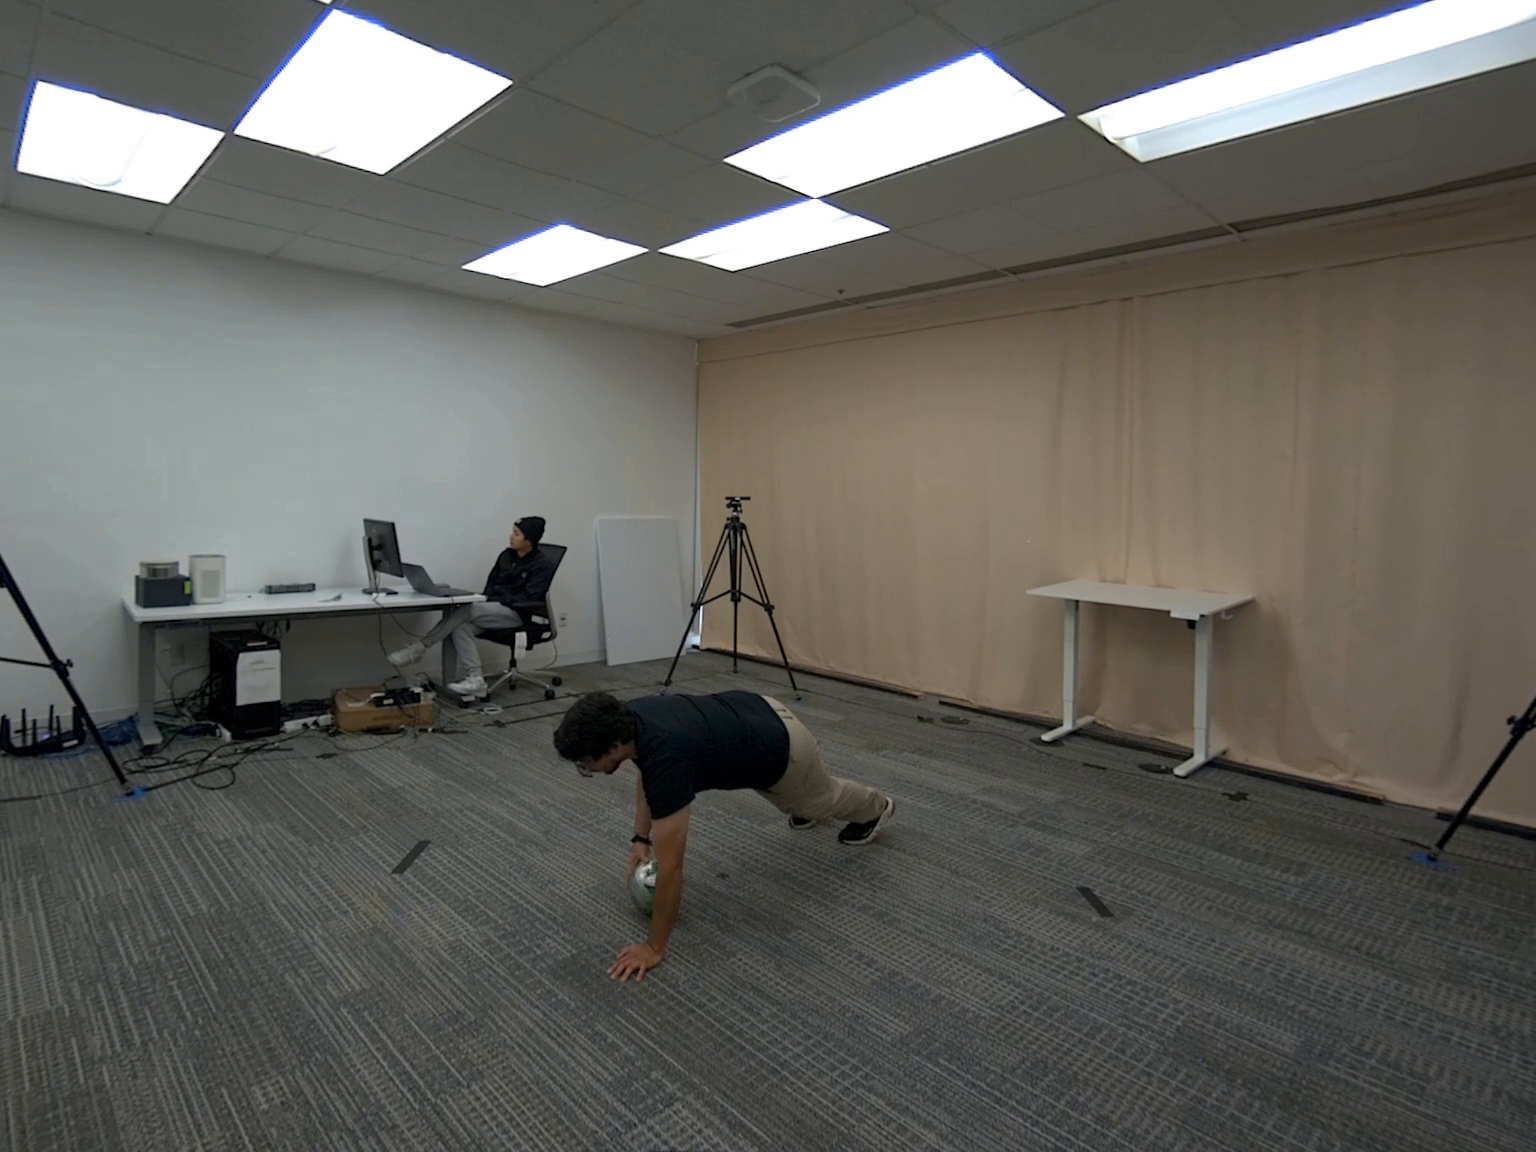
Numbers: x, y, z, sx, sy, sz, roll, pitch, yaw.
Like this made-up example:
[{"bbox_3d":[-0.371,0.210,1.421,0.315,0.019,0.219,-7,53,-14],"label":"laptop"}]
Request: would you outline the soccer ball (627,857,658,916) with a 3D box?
[{"bbox_3d":[-0.384,1.034,2.812,0.187,0.187,0.188,1,4,-1],"label":"soccer ball"}]
